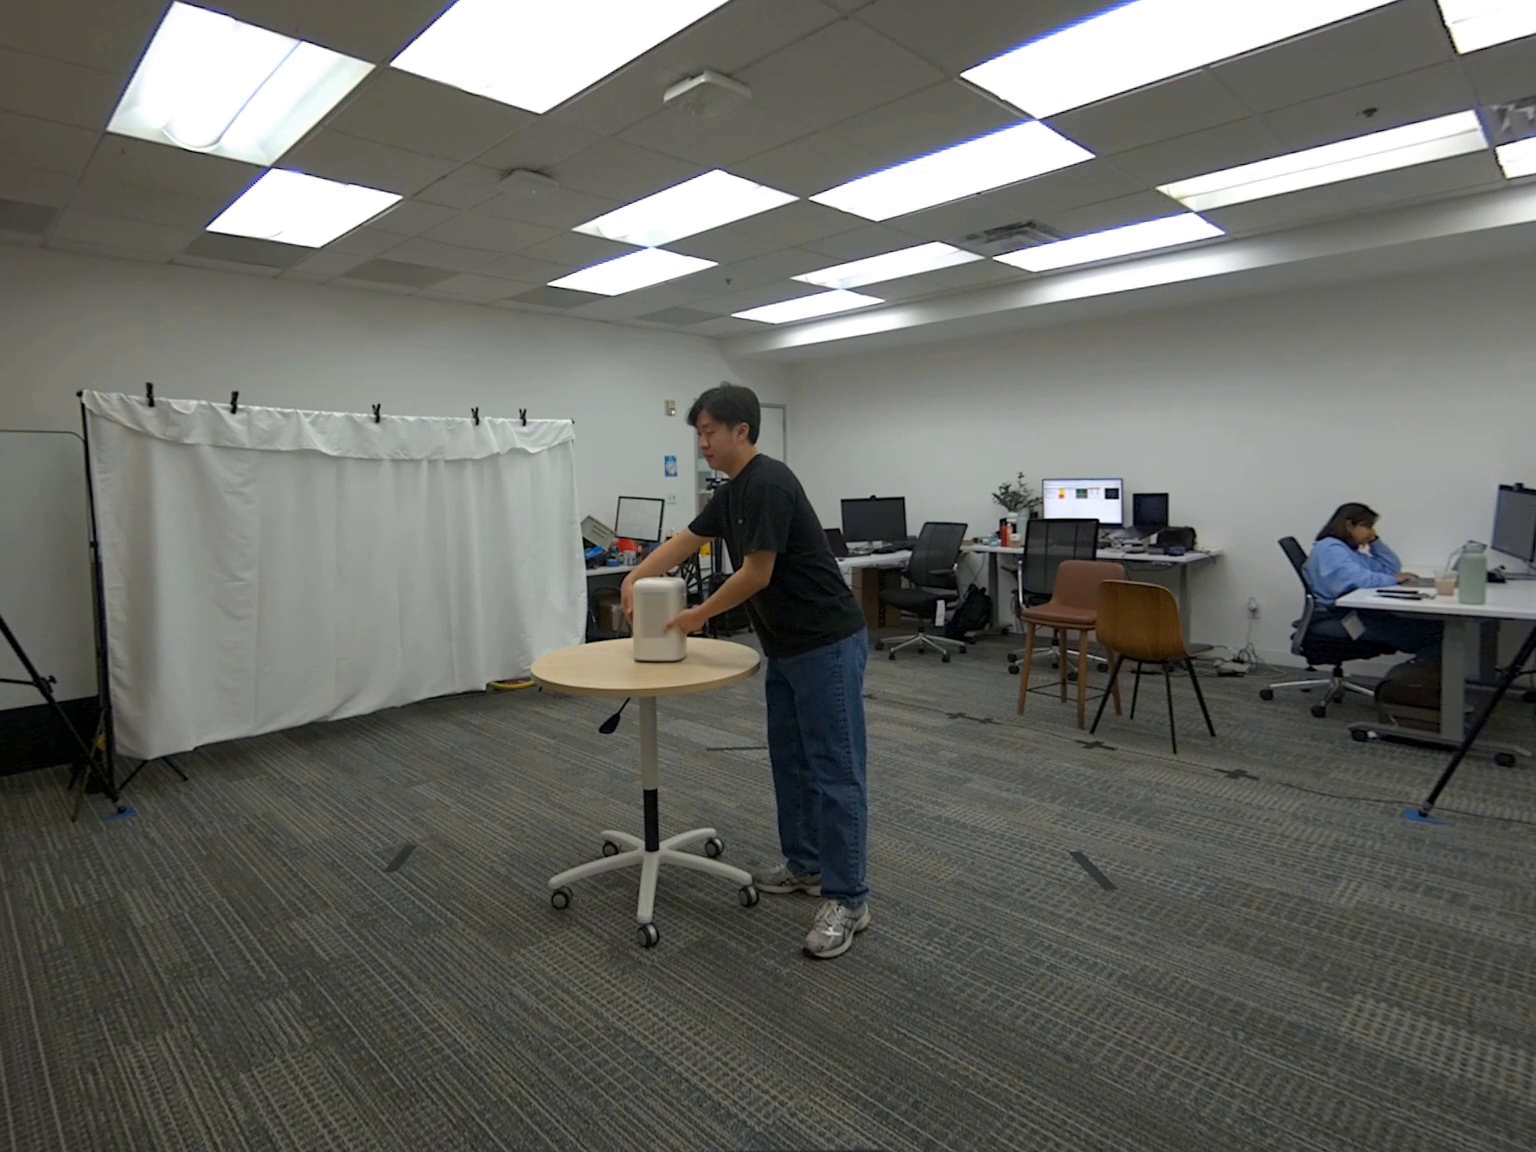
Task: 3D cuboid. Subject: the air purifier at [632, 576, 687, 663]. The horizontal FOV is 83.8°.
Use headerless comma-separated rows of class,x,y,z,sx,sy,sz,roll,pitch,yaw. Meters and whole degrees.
air purifier,-0.351,0.139,2.882,0.173,0.265,0.170,1,1,7
